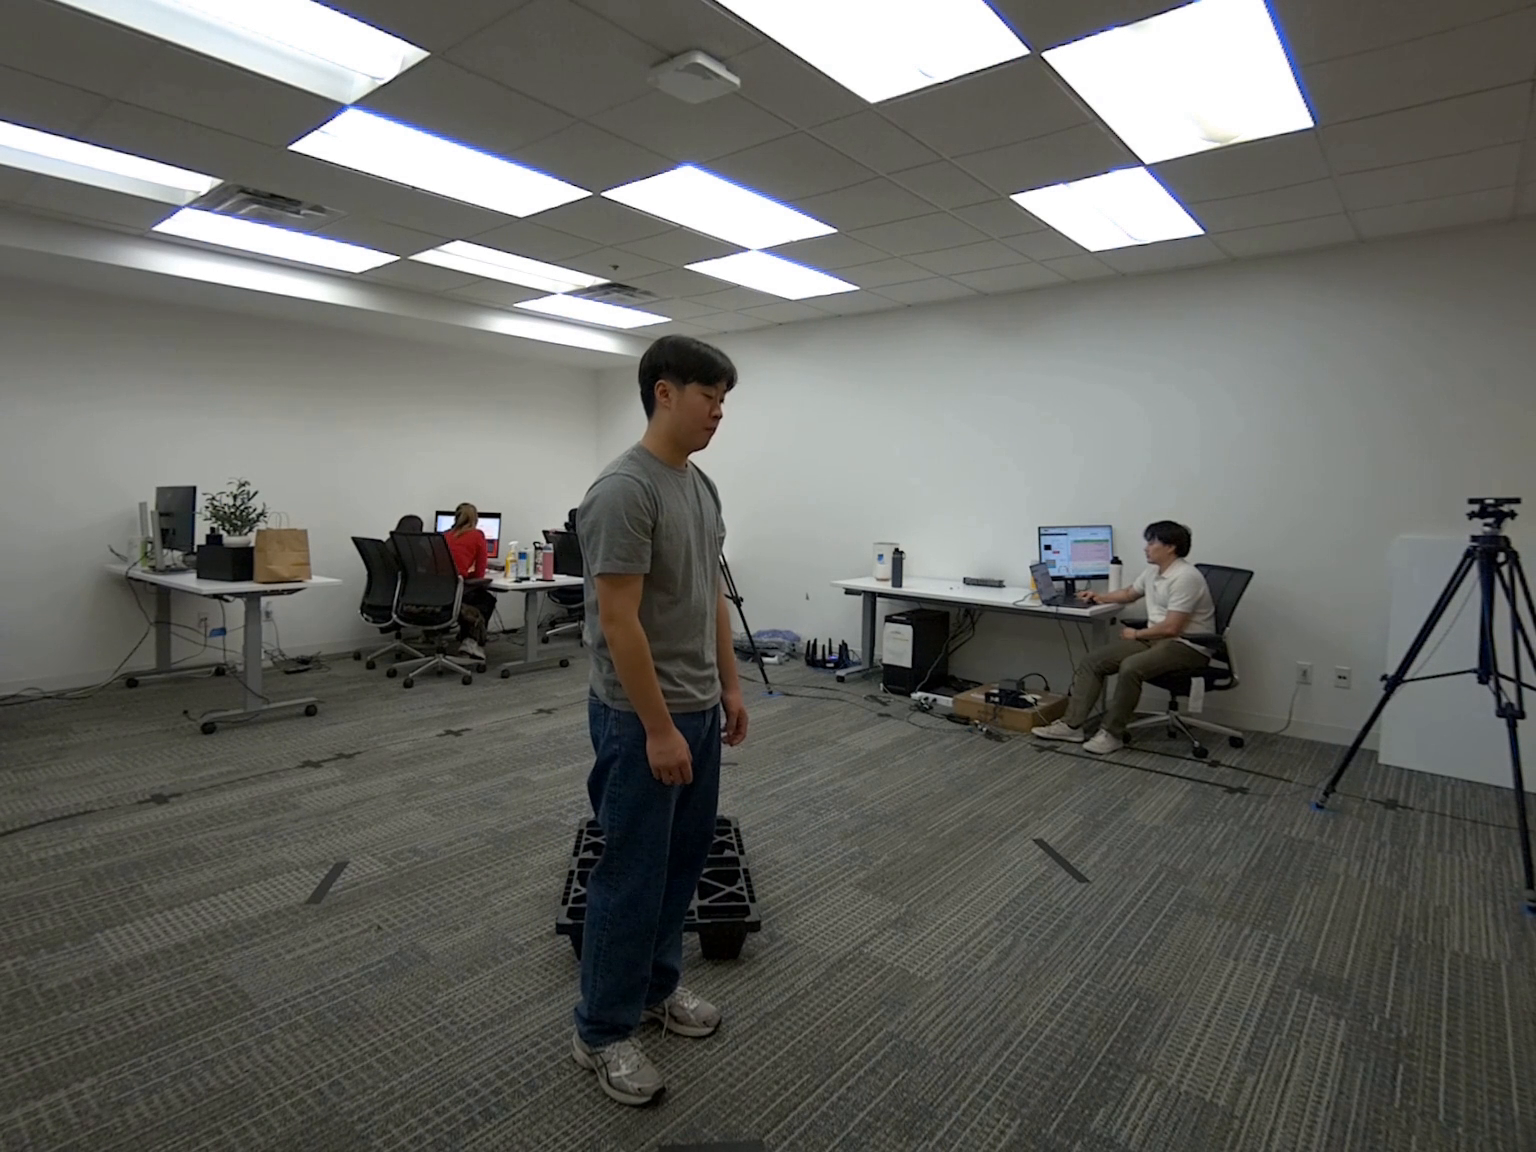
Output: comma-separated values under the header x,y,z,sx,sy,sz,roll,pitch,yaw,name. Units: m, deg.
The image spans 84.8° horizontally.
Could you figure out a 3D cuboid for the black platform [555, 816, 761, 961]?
x,y,z,sx,sy,sz,roll,pitch,yaw,name
-0.369,1.019,2.851,0.602,0.143,0.813,1,6,-6,black platform
